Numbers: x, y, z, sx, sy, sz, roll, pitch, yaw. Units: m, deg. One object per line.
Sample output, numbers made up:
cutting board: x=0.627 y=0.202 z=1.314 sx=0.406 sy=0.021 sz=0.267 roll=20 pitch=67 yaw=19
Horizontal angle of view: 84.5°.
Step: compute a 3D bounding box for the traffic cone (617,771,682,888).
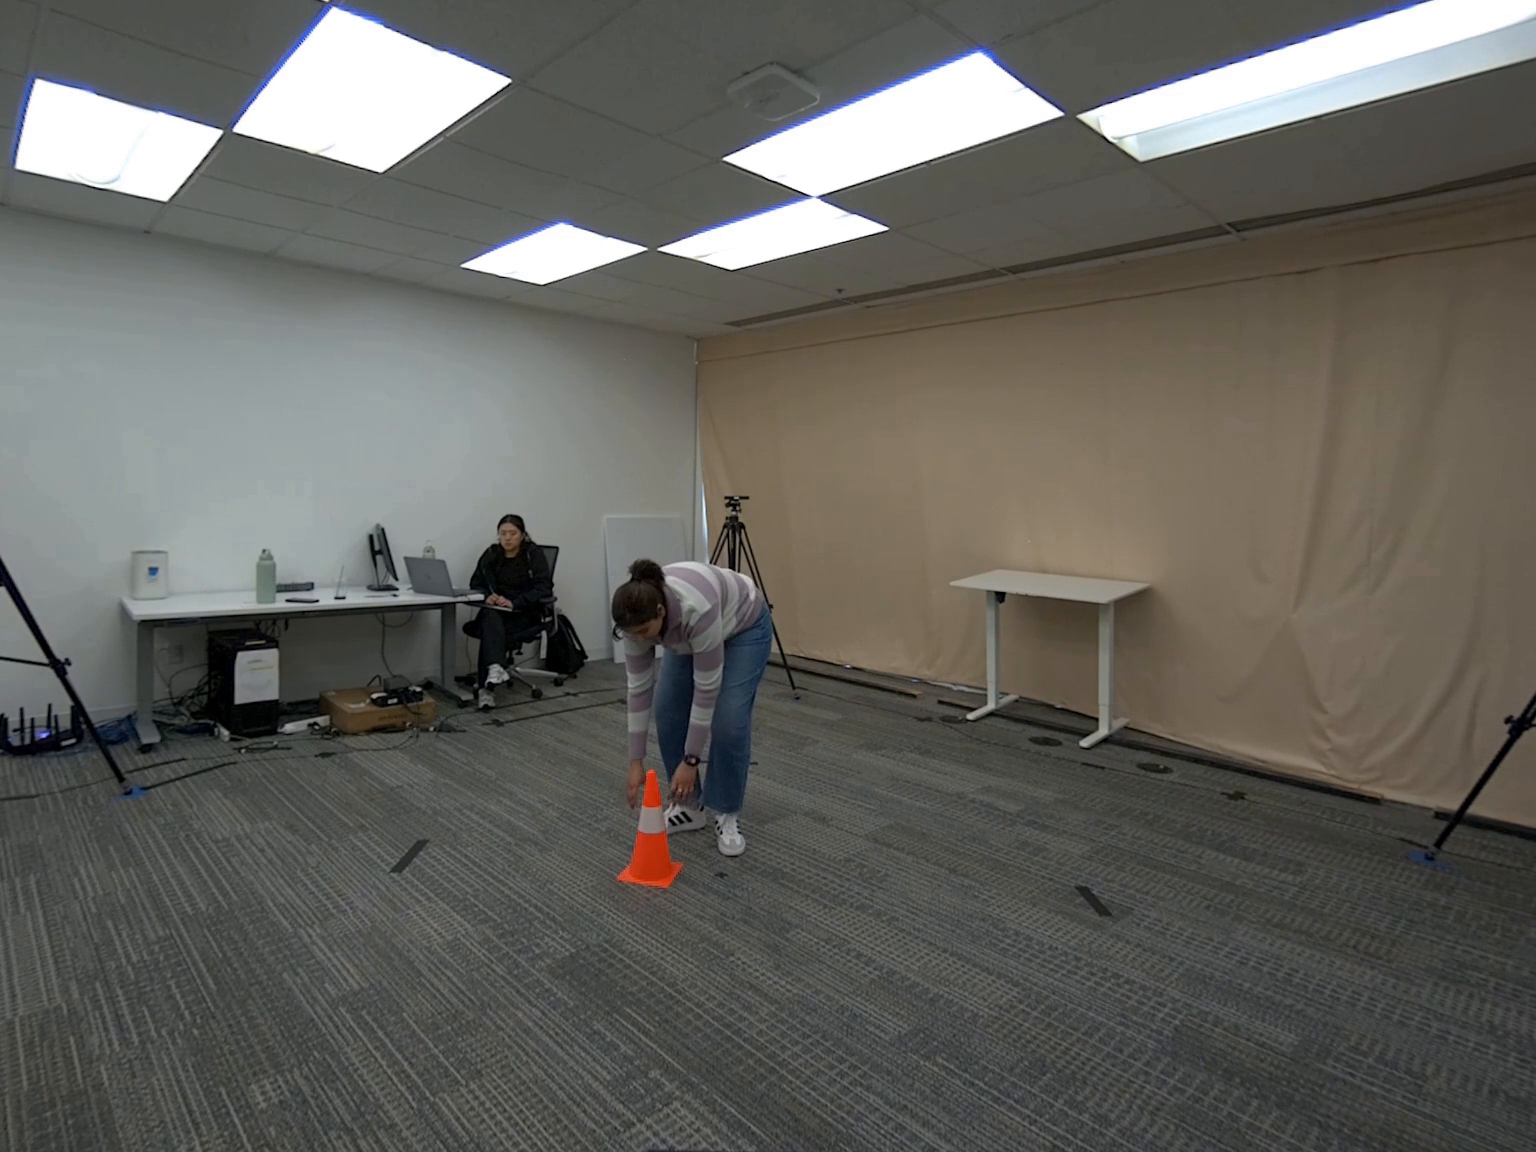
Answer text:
traffic cone: x=-0.433 y=0.913 z=3.110 sx=0.205 sy=0.383 sz=0.203 roll=3 pitch=3 yaw=11
